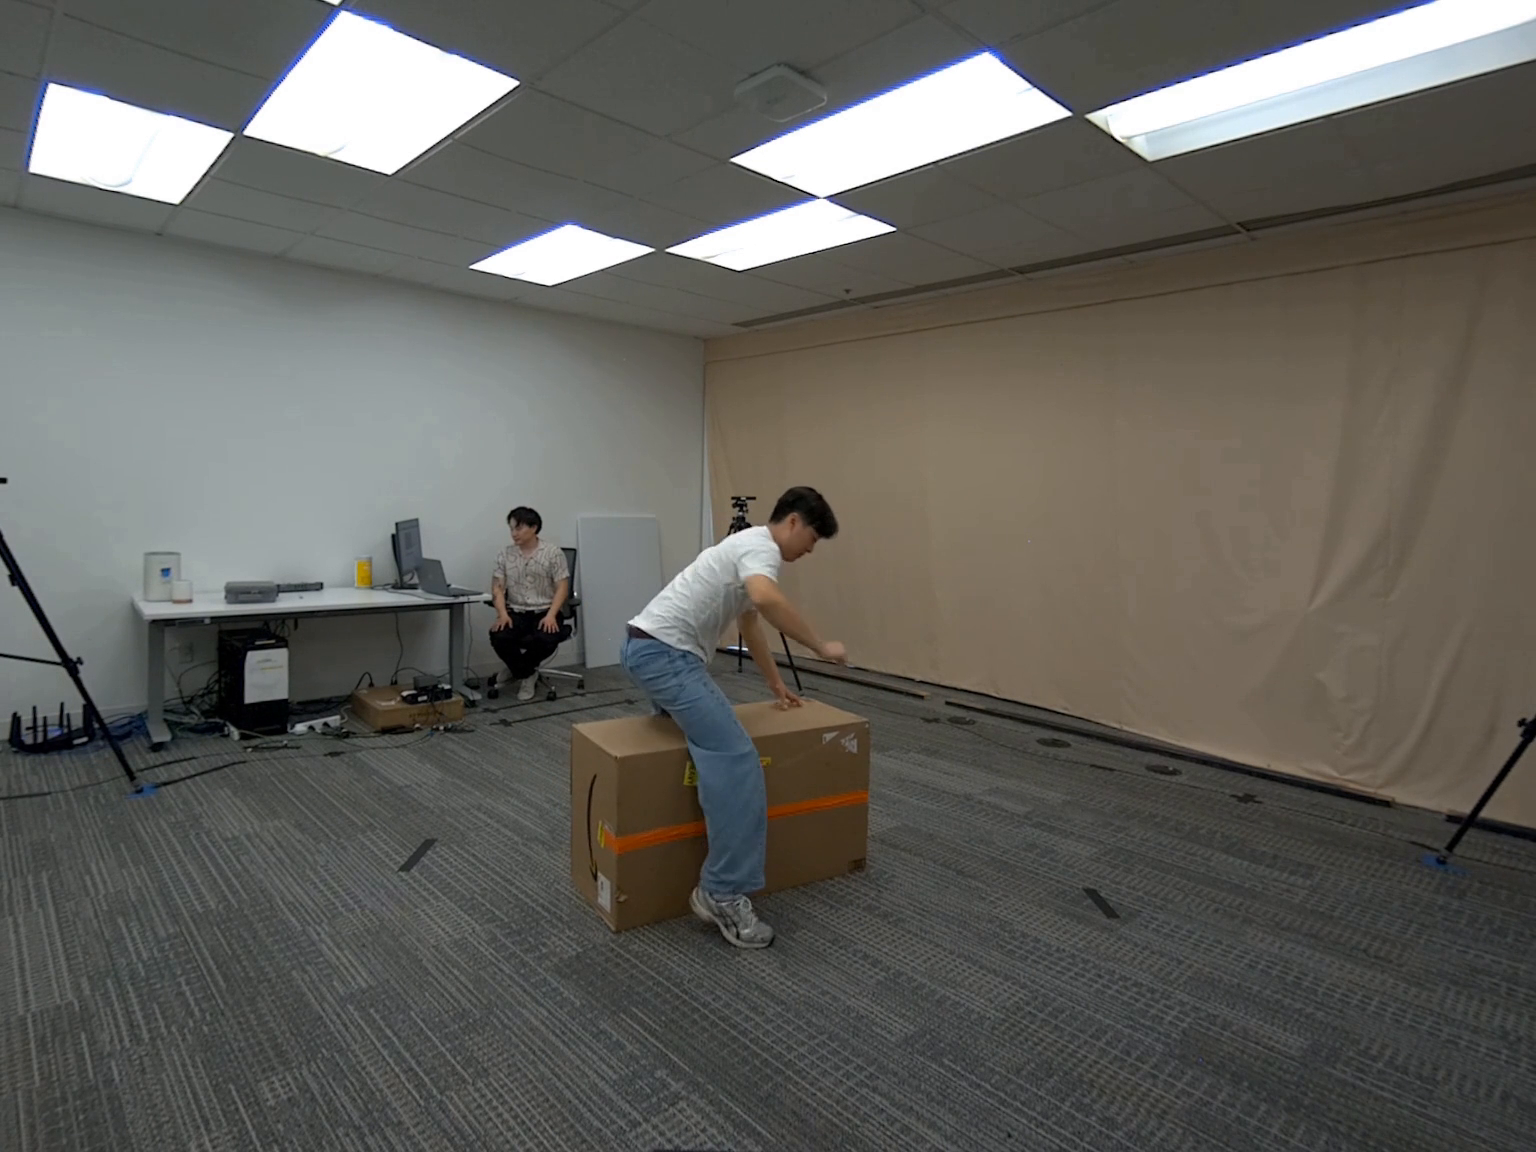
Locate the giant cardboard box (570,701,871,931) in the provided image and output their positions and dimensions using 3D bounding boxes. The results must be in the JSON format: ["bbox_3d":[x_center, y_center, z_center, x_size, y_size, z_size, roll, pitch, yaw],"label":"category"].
[{"bbox_3d":[-0.168,0.822,3.097,1.005,0.576,0.436,-2,4,-30],"label":"giant cardboard box"}]
